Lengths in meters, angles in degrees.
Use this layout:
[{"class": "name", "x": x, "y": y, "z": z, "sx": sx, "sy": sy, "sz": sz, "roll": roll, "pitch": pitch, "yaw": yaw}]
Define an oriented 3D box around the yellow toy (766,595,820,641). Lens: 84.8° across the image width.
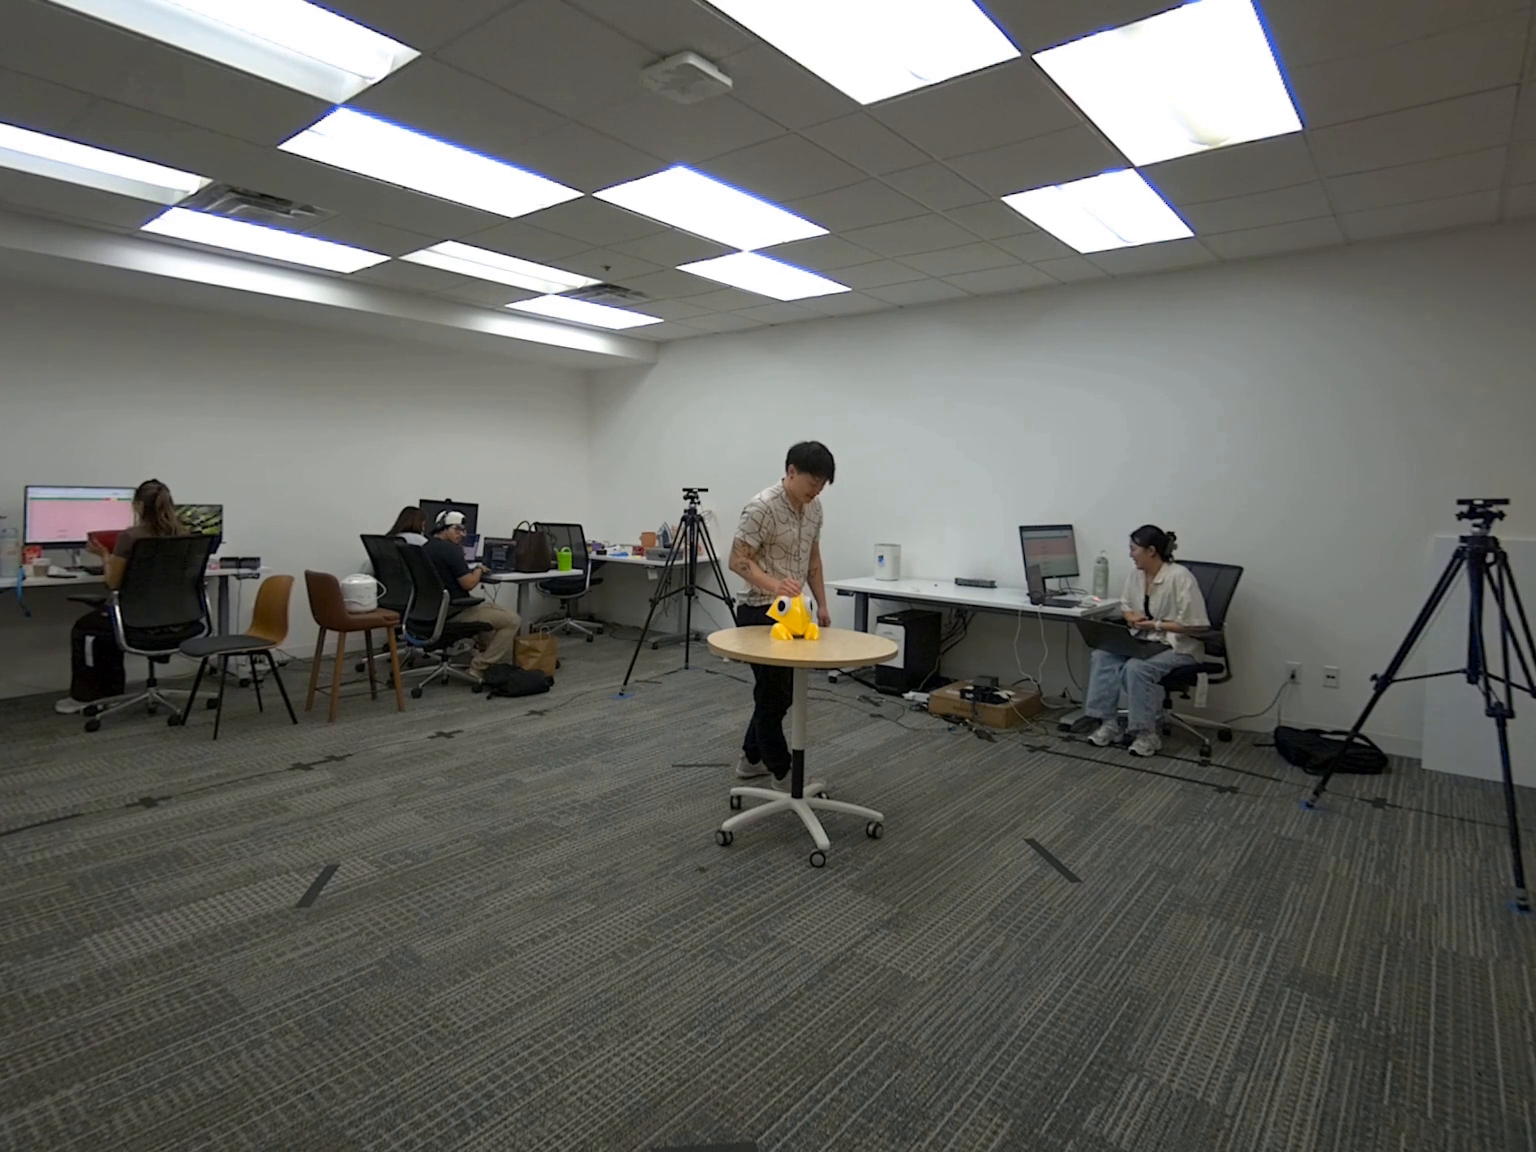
[{"class": "yellow toy", "x": 0.111, "y": 0.134, "z": 3.561, "sx": 0.202, "sy": 0.230, "sz": 0.196, "roll": 1, "pitch": 4, "yaw": -14}]
